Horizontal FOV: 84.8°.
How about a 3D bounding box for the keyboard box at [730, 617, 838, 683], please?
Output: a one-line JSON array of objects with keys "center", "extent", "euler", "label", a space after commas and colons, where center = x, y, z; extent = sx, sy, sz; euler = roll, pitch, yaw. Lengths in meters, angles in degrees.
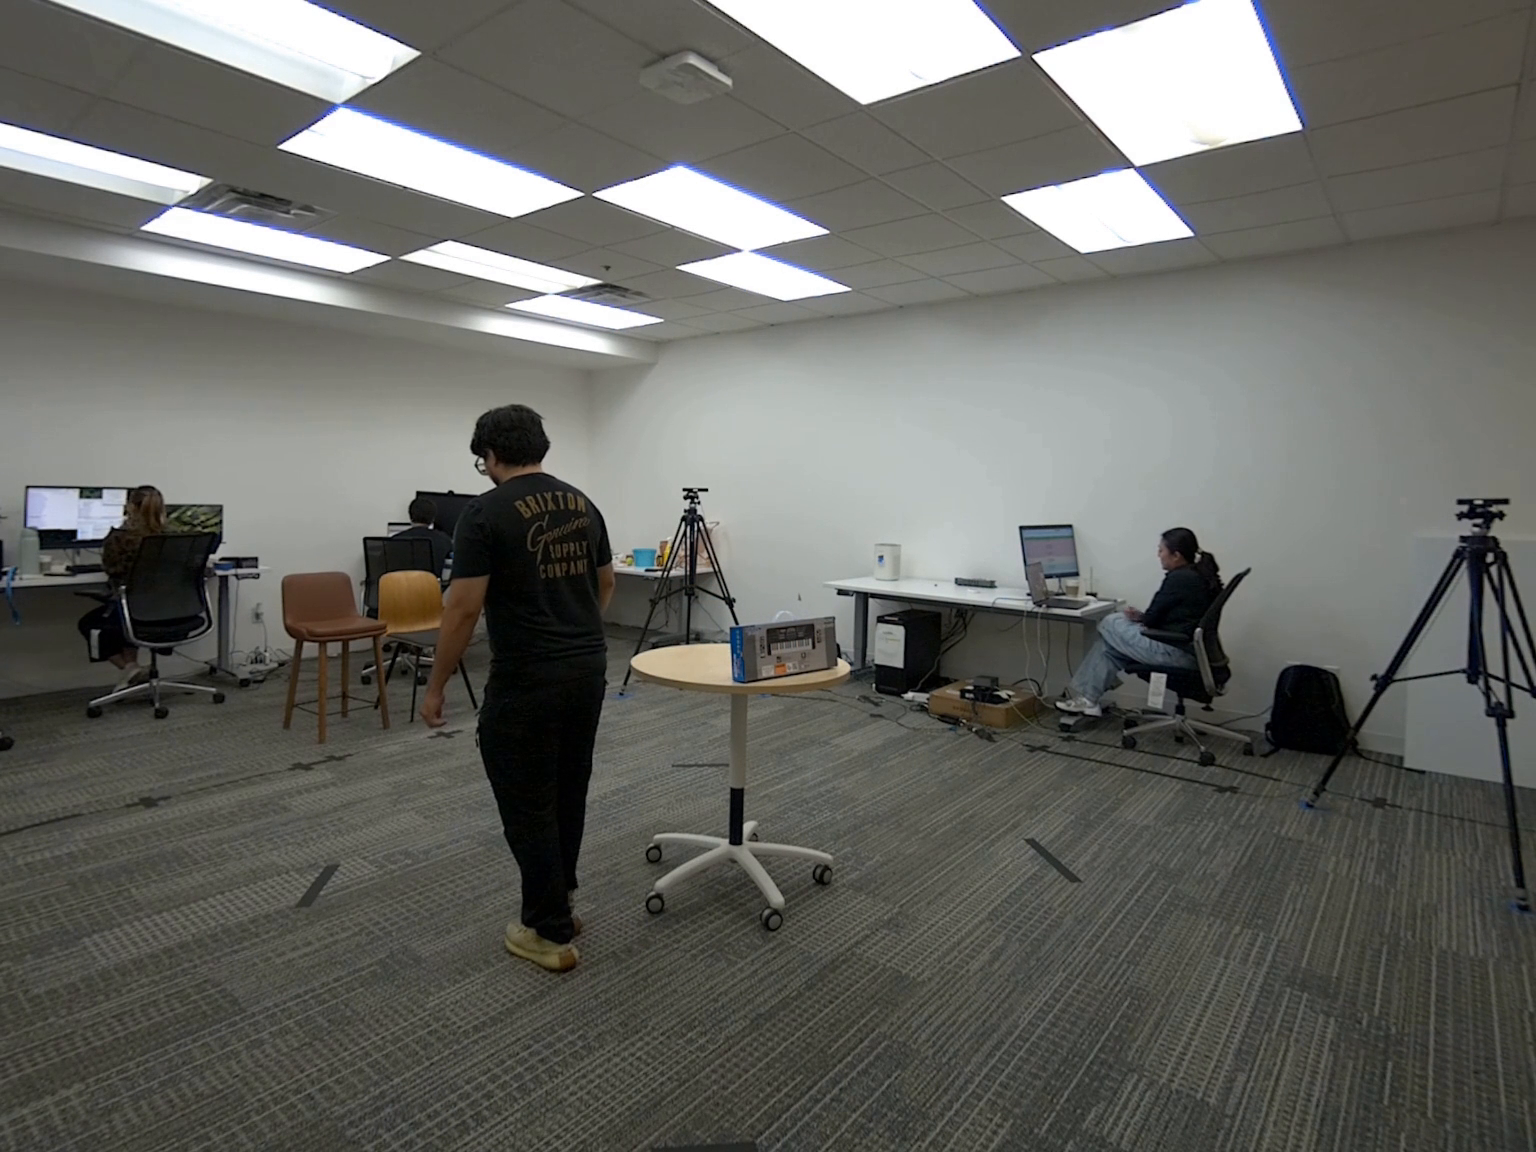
[{"center": [0.052, 0.234, 2.788], "extent": [0.423, 0.176, 0.061], "euler": [-3, -2, -42], "label": "keyboard box"}]
